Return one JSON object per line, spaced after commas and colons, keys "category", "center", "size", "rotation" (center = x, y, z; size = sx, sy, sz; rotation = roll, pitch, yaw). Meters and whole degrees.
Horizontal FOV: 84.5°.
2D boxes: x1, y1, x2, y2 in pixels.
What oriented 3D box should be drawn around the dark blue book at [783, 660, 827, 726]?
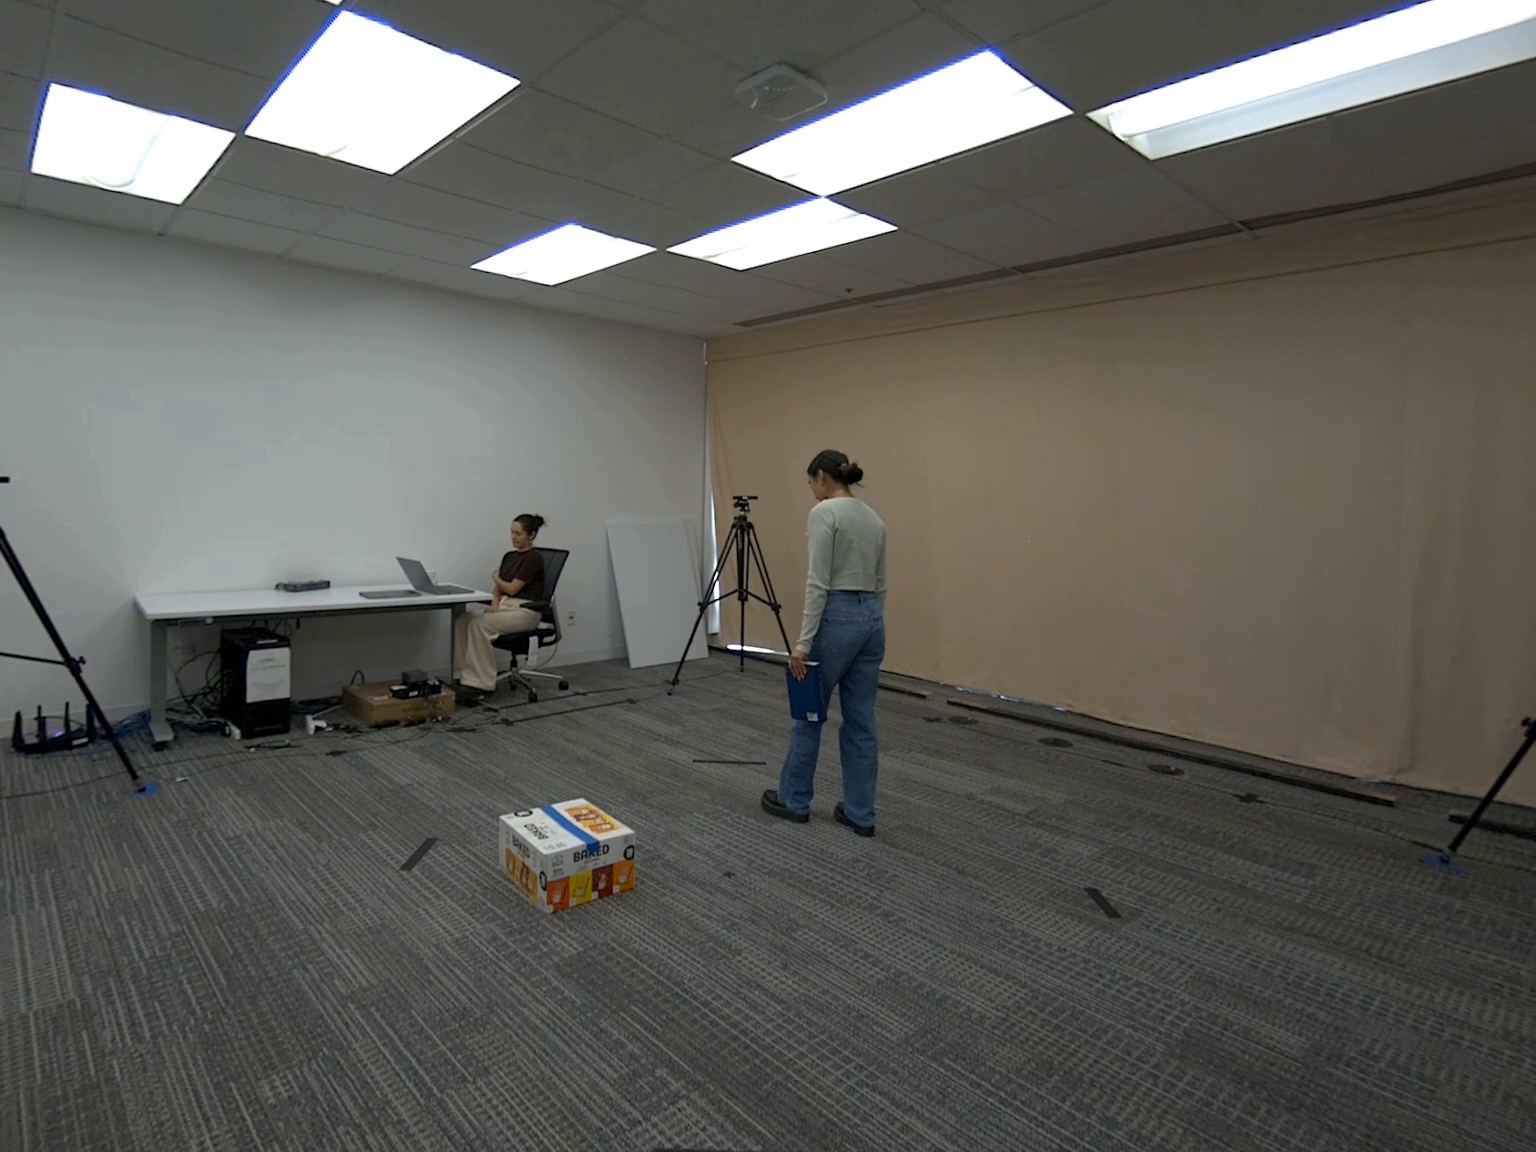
{"category": "dark blue book", "center": [0.148, 0.471, 3.426], "size": [0.044, 0.243, 0.167], "rotation": [-13, 11, -41]}
